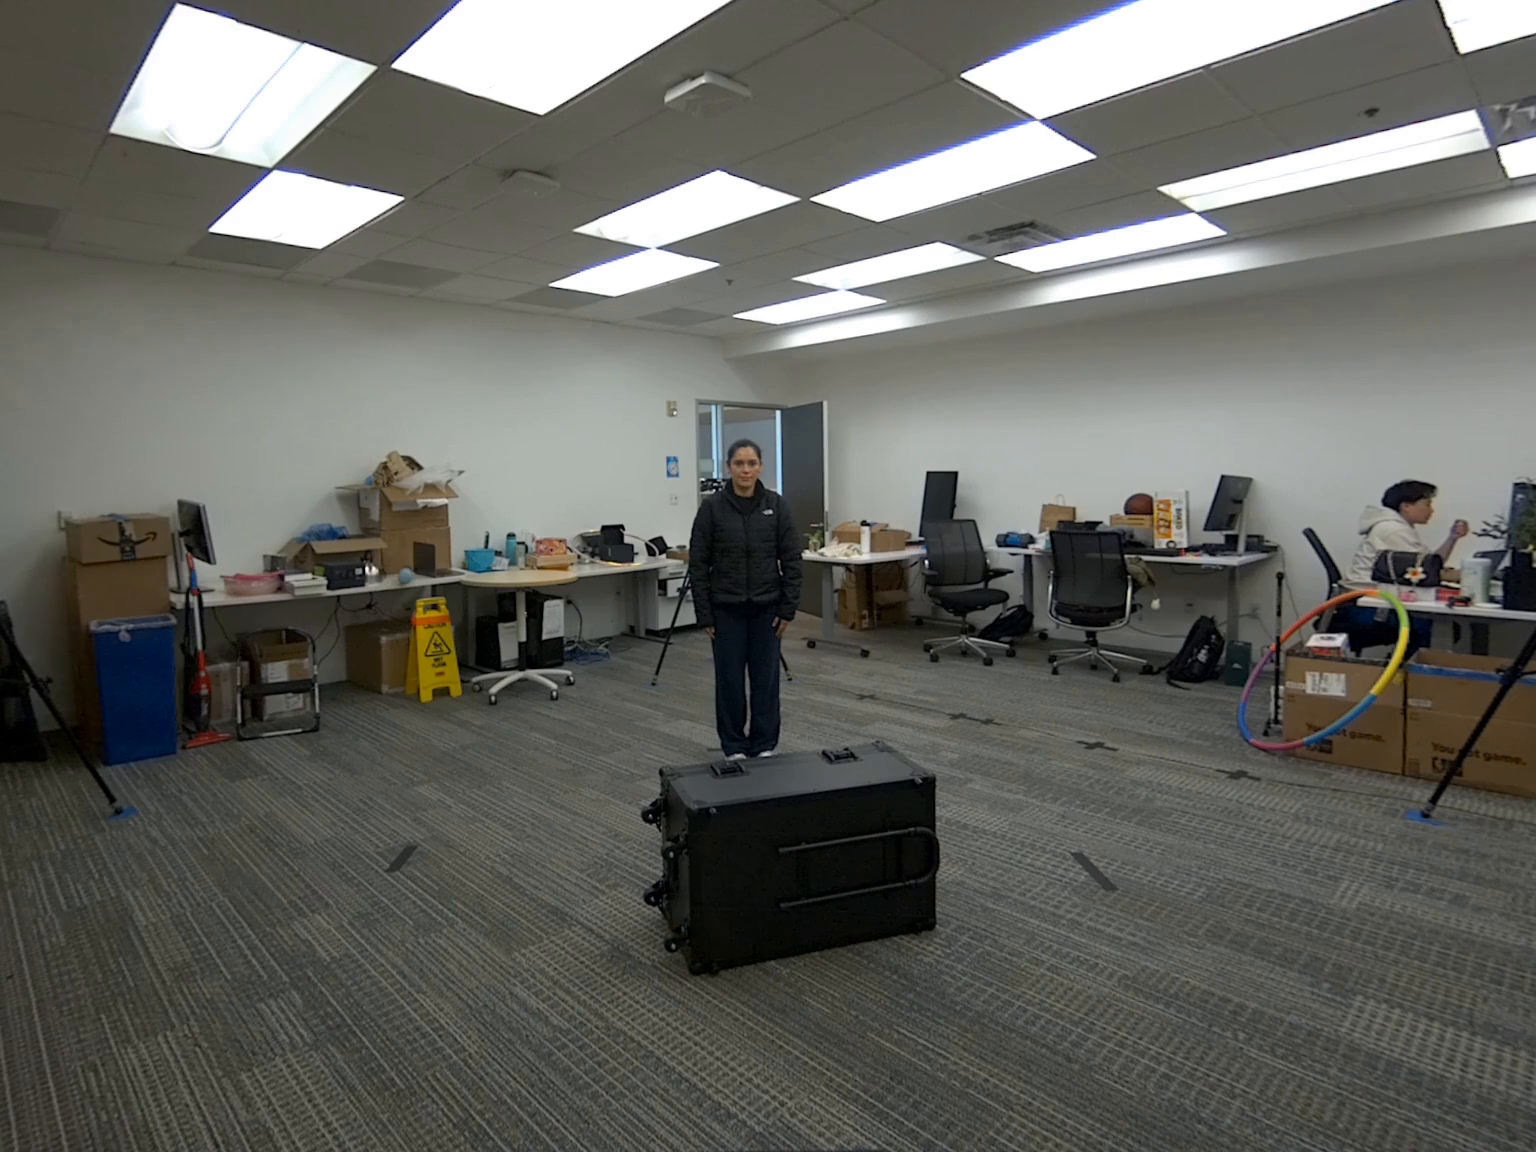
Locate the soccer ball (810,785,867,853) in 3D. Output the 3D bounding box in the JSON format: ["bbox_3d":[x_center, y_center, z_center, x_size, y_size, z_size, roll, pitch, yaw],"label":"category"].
[{"bbox_3d":[0.264,0.927,3.286,0.187,0.187,0.188,-1,5,-2],"label":"soccer ball"}]
